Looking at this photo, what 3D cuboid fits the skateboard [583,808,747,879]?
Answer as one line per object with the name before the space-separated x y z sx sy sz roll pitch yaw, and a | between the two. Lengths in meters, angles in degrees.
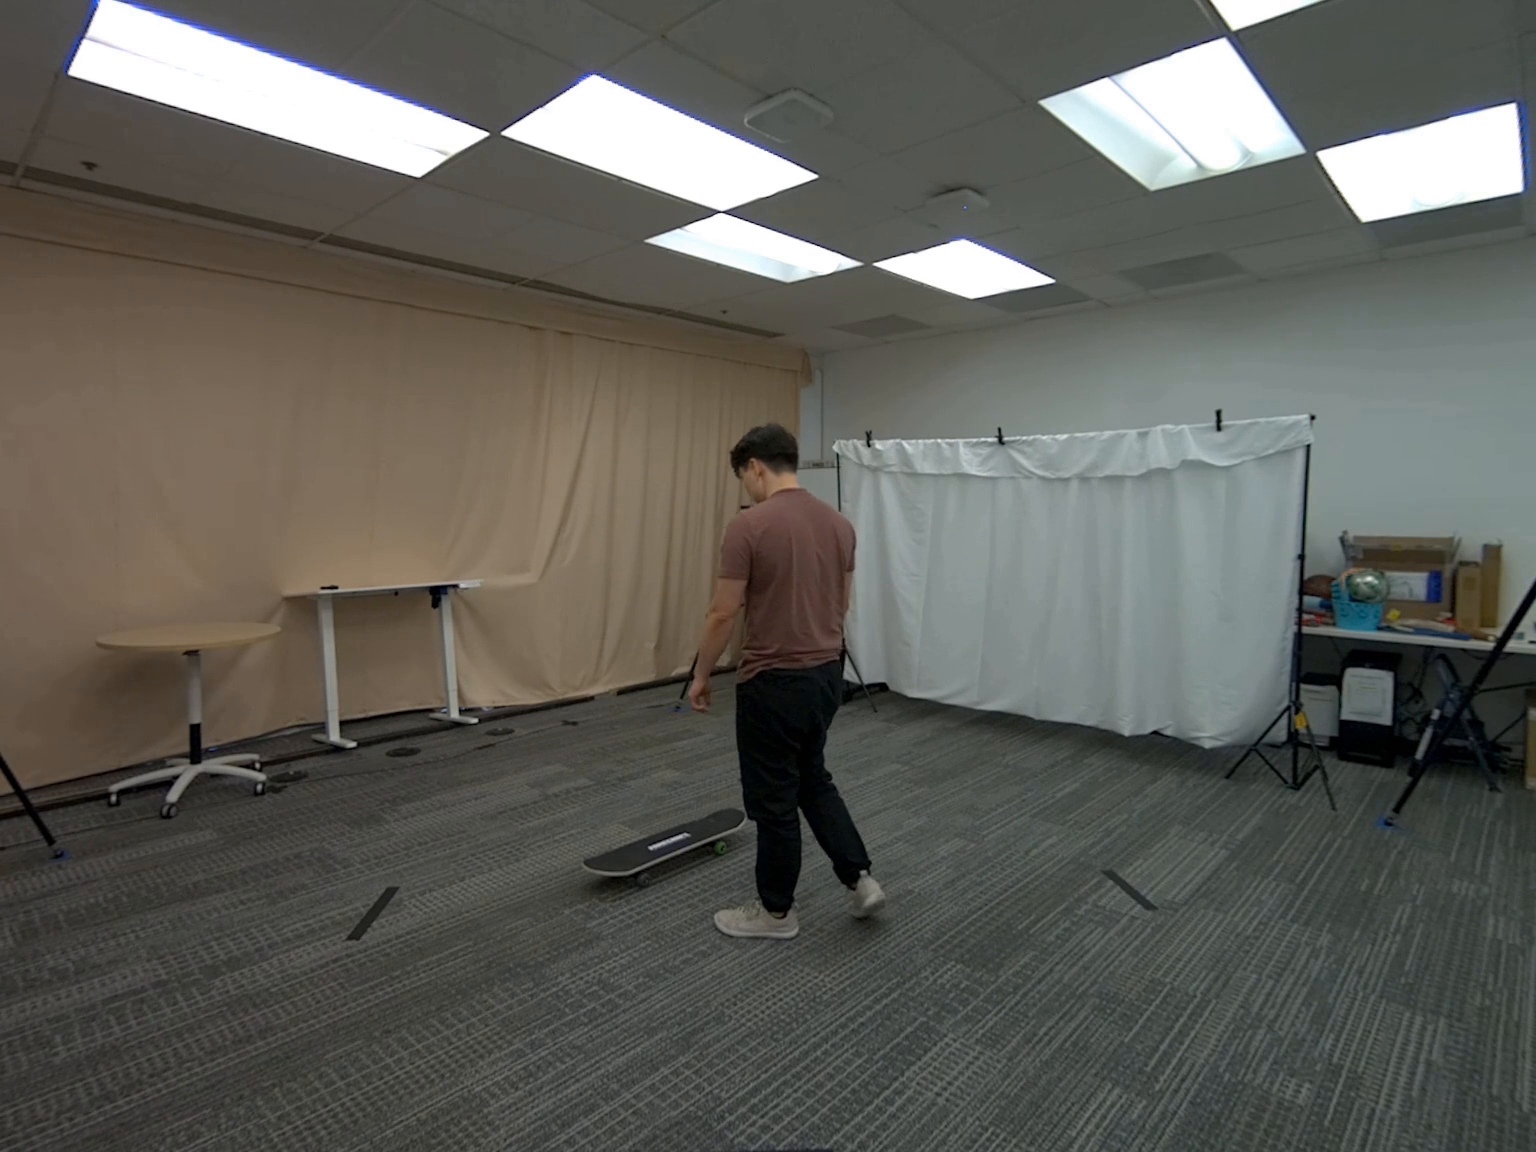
skateboard | -0.388 1.067 3.279 0.200 0.110 0.761 1 5 44
